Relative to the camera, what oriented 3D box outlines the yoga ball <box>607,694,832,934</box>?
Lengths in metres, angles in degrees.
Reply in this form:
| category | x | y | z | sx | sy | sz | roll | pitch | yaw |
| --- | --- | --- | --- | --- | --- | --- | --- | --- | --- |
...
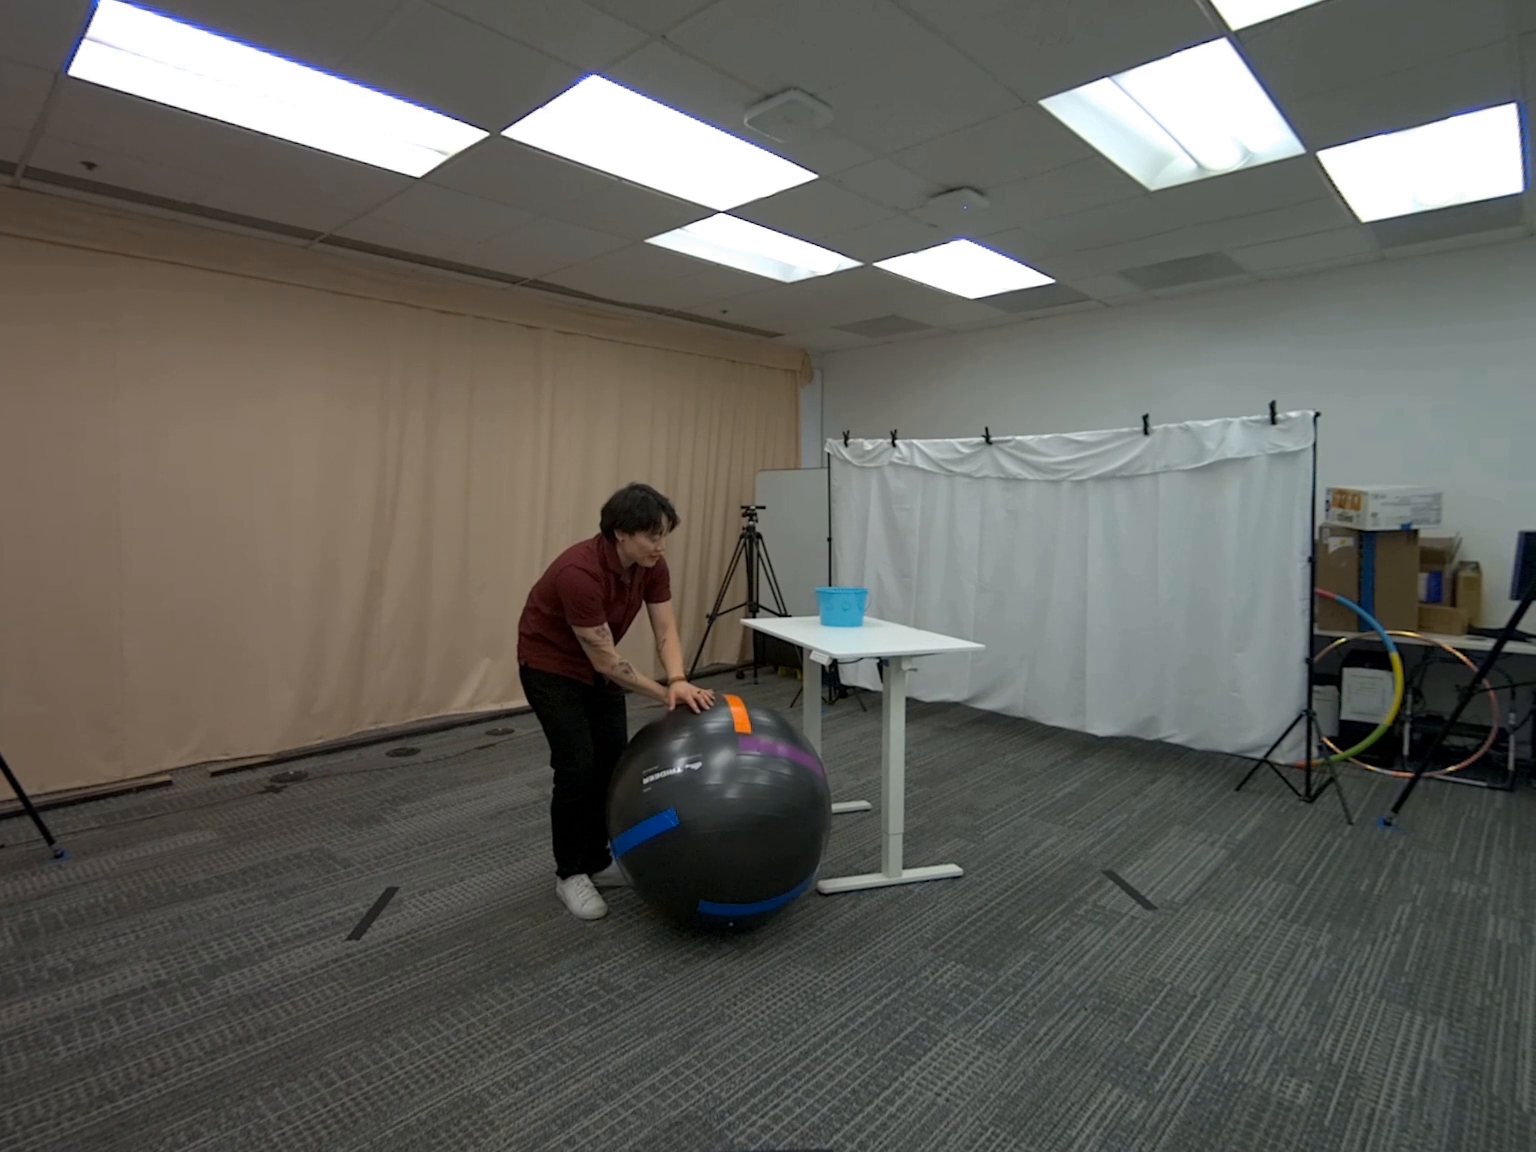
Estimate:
| category | x | y | z | sx | sy | sz | roll | pitch | yaw |
| --- | --- | --- | --- | --- | --- | --- | --- | --- | --- |
| yoga ball | -0.171 | 0.787 | 2.844 | 0.757 | 0.756 | 0.760 | 0 | 4 | -2 |
